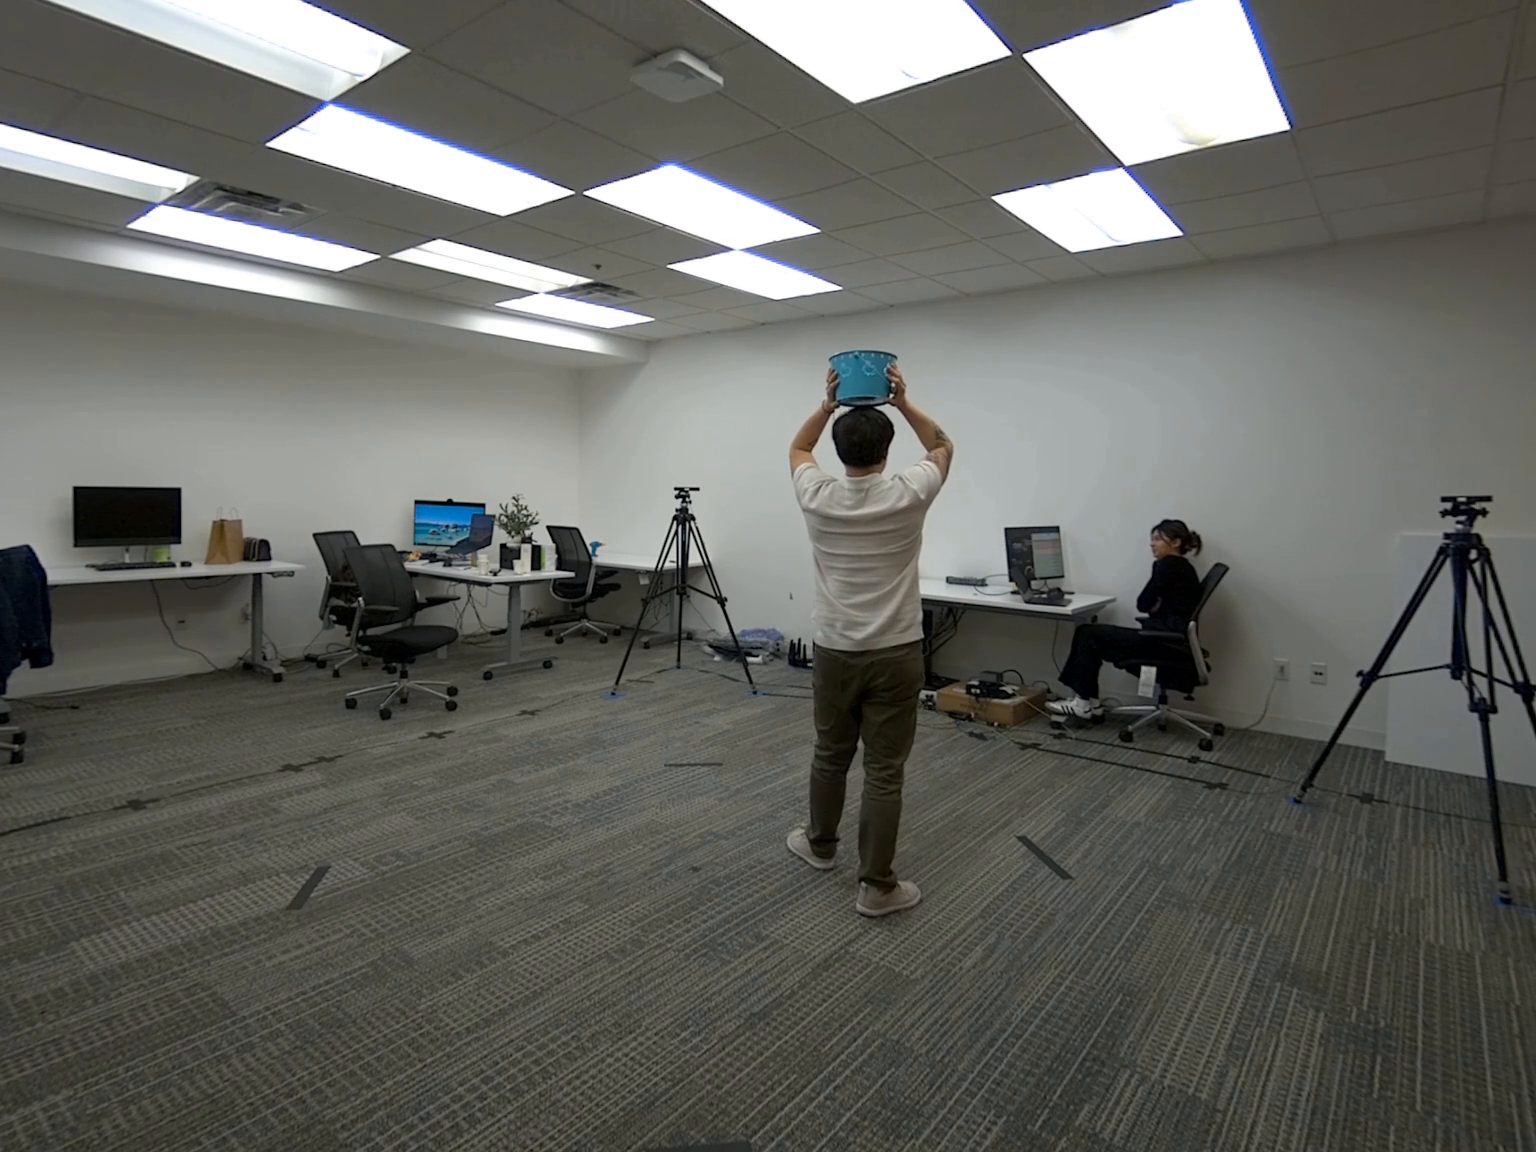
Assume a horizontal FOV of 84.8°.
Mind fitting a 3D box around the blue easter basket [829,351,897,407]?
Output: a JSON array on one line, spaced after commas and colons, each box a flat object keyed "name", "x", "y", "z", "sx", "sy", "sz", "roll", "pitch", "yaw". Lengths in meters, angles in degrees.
[{"name": "blue easter basket", "x": 0.326, "y": -0.685, "z": 2.921, "sx": 0.243, "sy": 0.156, "sz": 0.244, "roll": 1, "pitch": 2, "yaw": -2}]
